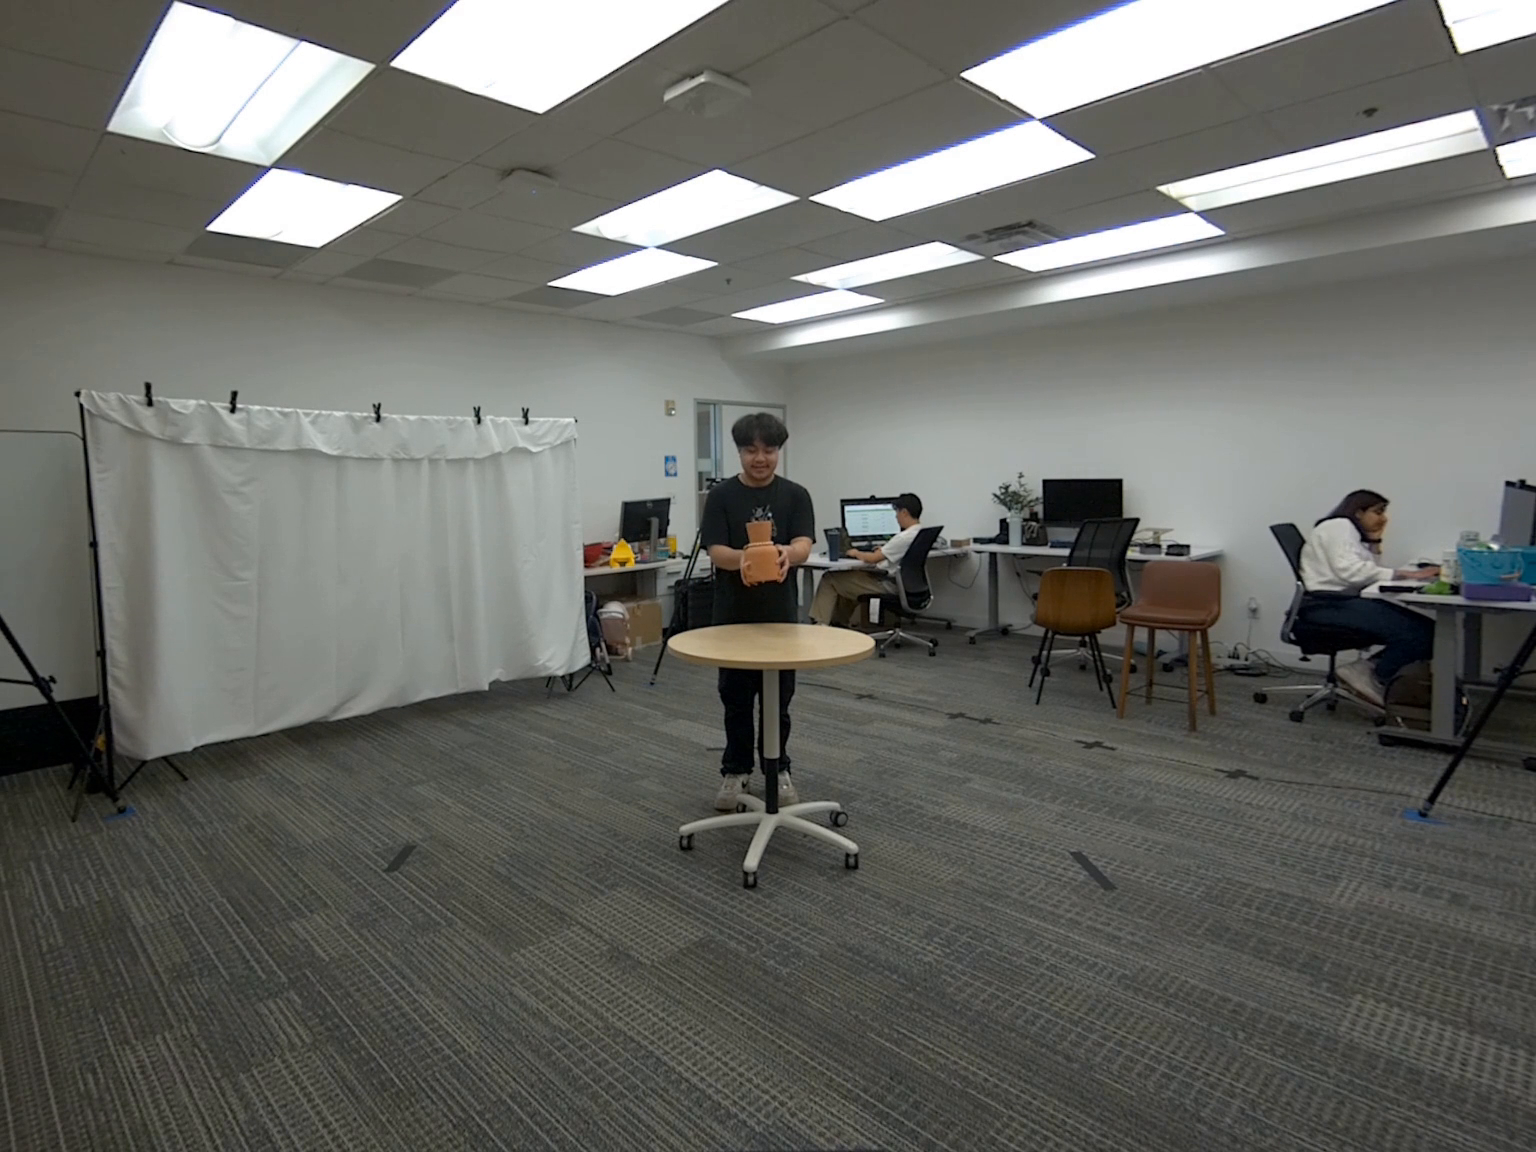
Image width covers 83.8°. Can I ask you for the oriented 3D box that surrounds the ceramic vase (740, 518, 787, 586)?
[{"bbox_3d":[-0.038,-0.093,3.235,0.135,0.220,0.158,-5,-1,4],"label":"ceramic vase"}]
